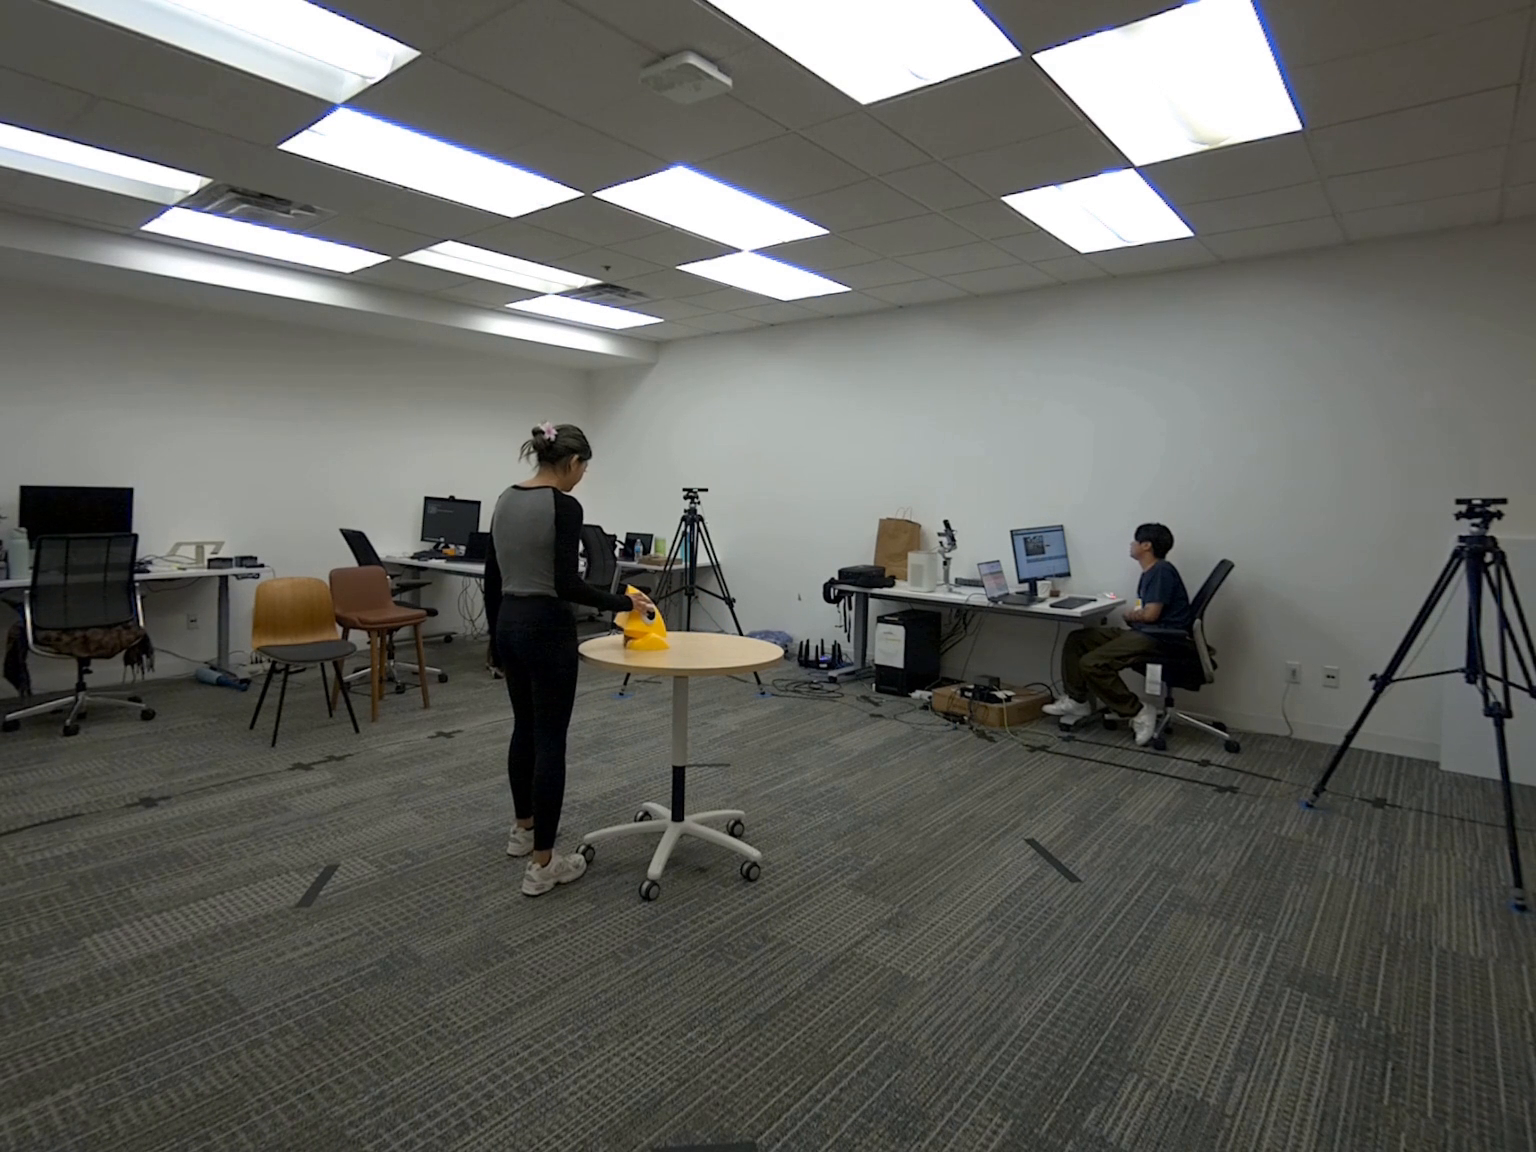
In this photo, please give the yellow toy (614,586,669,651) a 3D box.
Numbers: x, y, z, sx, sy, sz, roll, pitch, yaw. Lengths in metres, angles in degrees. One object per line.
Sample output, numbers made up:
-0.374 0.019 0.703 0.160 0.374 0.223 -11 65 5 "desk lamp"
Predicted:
-0.484 0.151 3.211 0.189 0.230 0.210 0 4 -21 "yellow toy"
